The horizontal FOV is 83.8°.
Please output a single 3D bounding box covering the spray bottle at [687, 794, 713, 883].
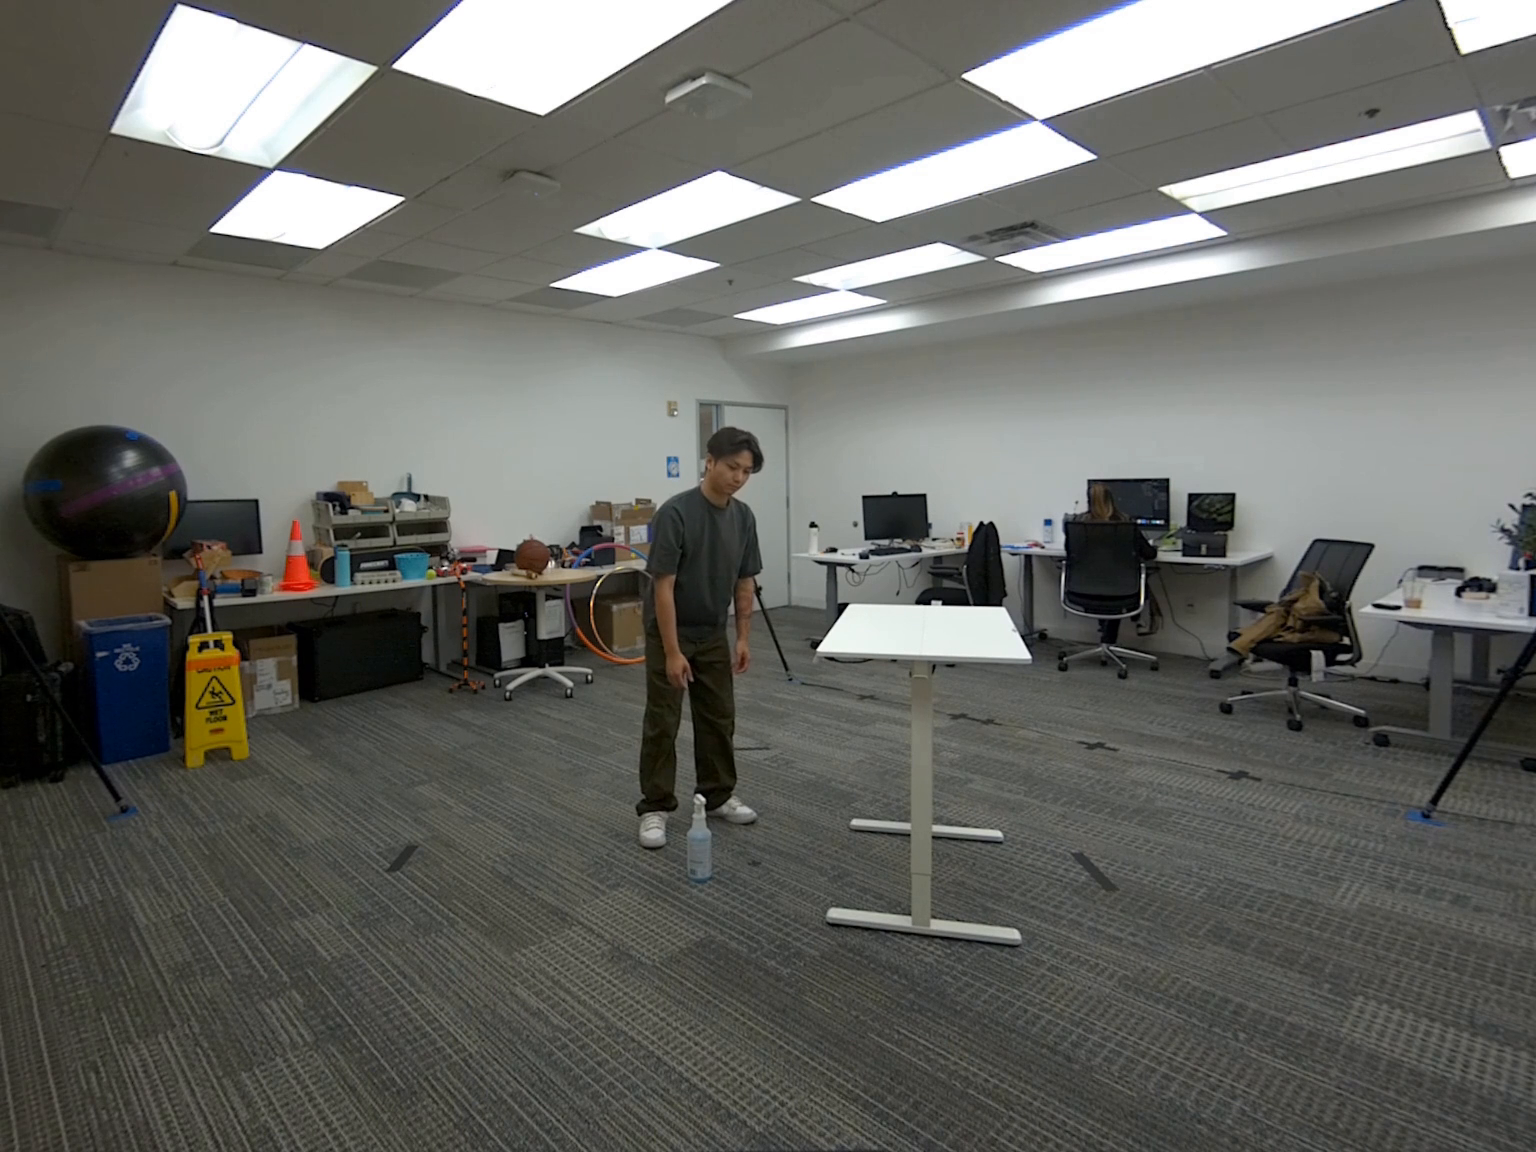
[{"bbox_3d":[-0.240,0.918,2.995,0.087,0.296,0.090,1,6,1],"label":"spray bottle"}]
